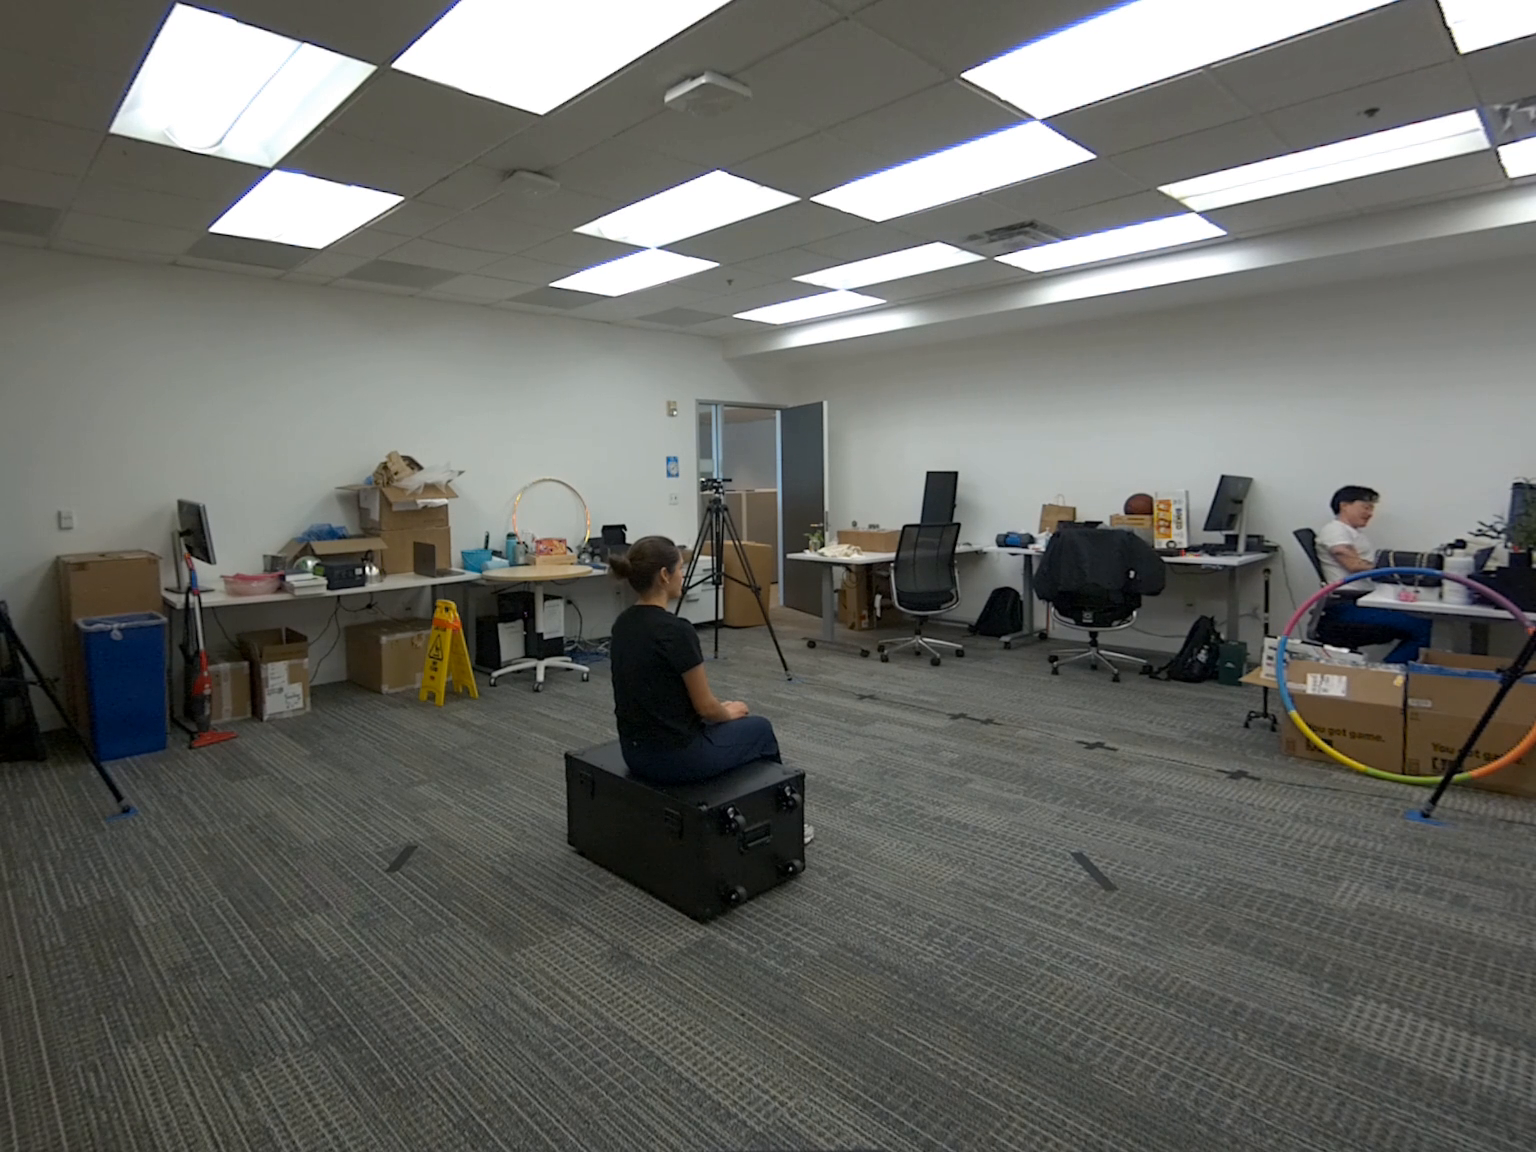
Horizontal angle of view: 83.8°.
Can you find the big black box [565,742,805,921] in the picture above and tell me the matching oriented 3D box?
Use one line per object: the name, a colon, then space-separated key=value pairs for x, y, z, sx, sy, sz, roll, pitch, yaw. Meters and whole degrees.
big black box: x=-0.297 y=0.862 z=3.092 sx=0.508 sy=0.394 sz=0.888 roll=-7 pitch=8 yaw=-44
